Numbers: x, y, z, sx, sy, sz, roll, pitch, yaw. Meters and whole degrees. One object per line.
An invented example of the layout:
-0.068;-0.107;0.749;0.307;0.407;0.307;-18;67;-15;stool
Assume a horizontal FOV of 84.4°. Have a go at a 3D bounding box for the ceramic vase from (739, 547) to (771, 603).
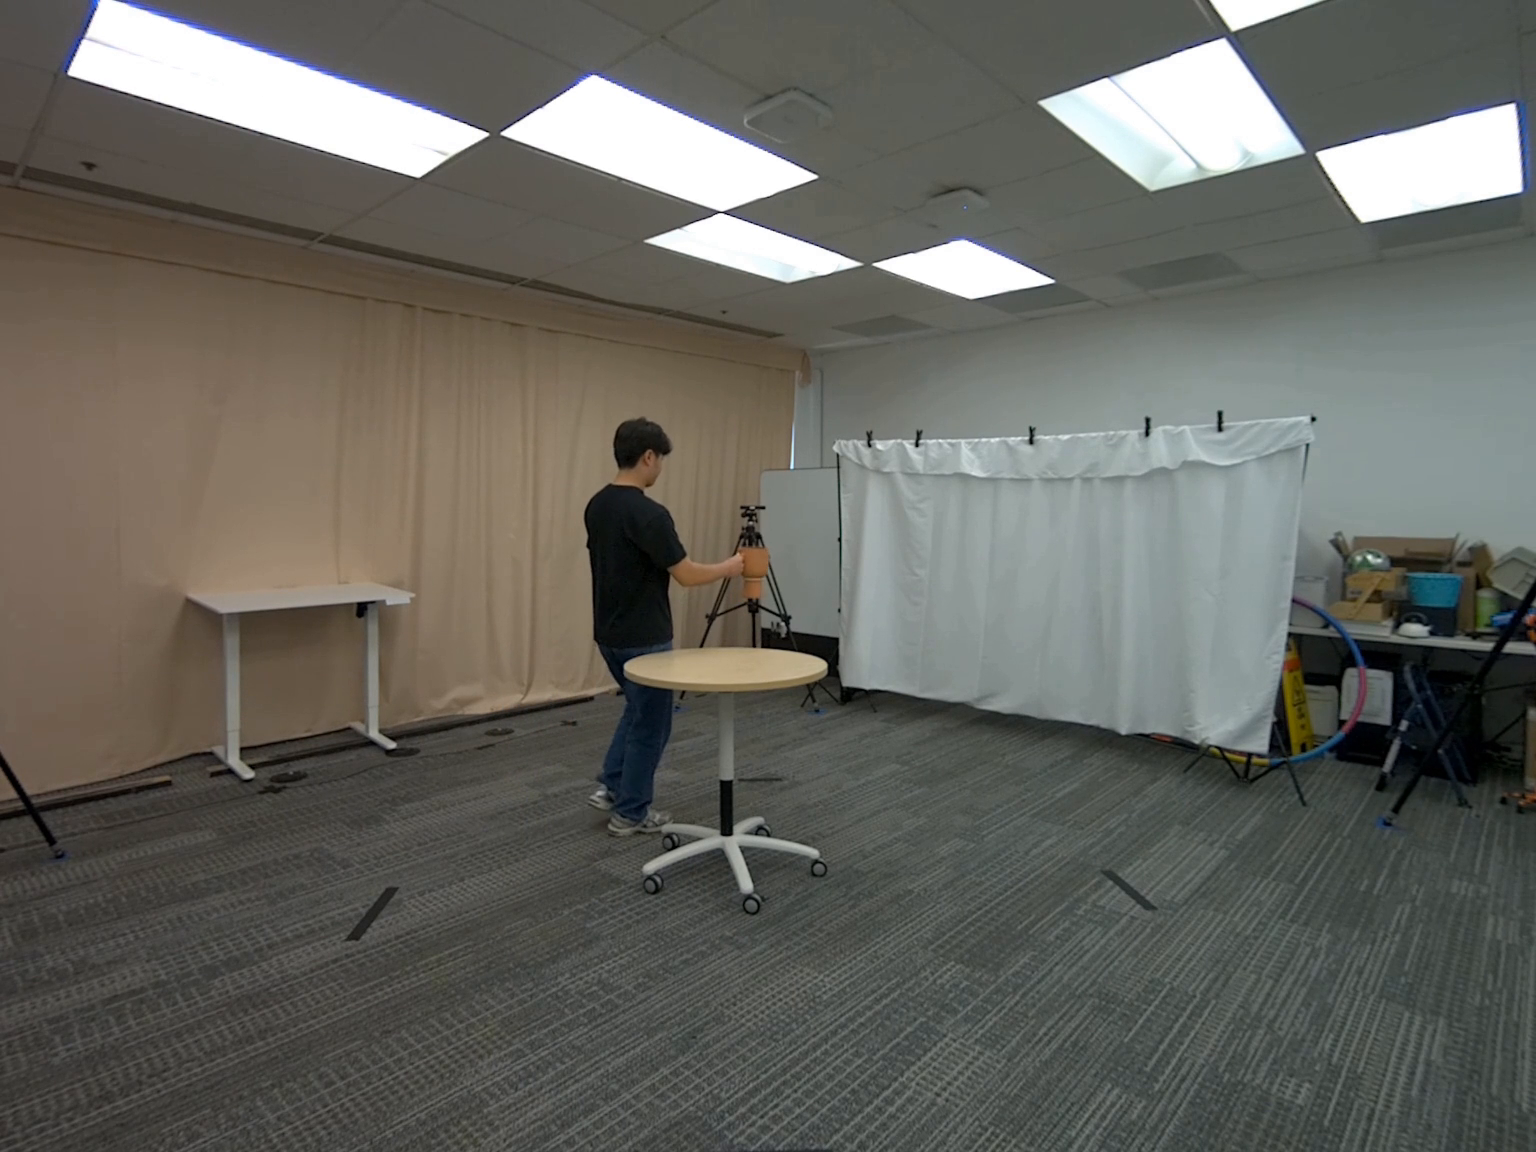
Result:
-0.069;-0.011;3.735;0.158;0.219;0.136;1;3;-6;ceramic vase
